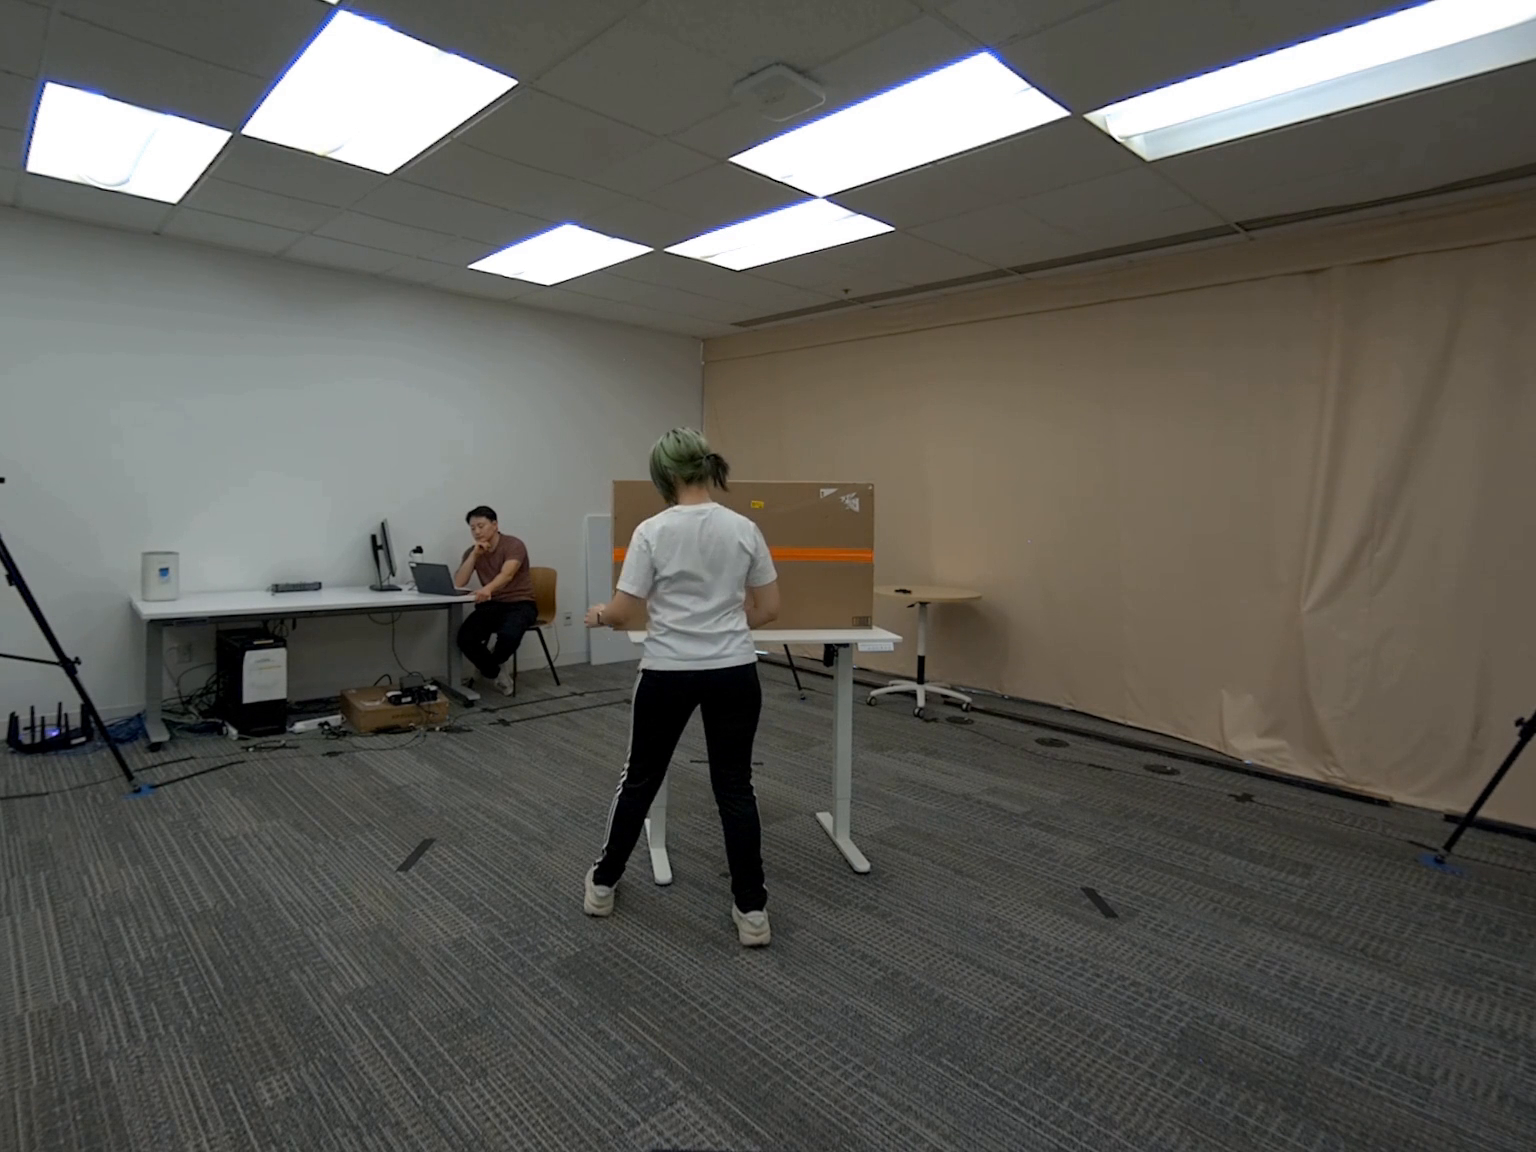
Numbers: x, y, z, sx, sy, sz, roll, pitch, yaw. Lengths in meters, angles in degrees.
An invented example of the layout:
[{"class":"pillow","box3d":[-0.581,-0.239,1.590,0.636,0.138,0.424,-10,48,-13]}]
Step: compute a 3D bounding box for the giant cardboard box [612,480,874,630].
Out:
[{"class":"giant cardboard box","box3d":[-0.128,-0.097,3.449,1.020,0.582,0.451,-1,3,-9]}]
